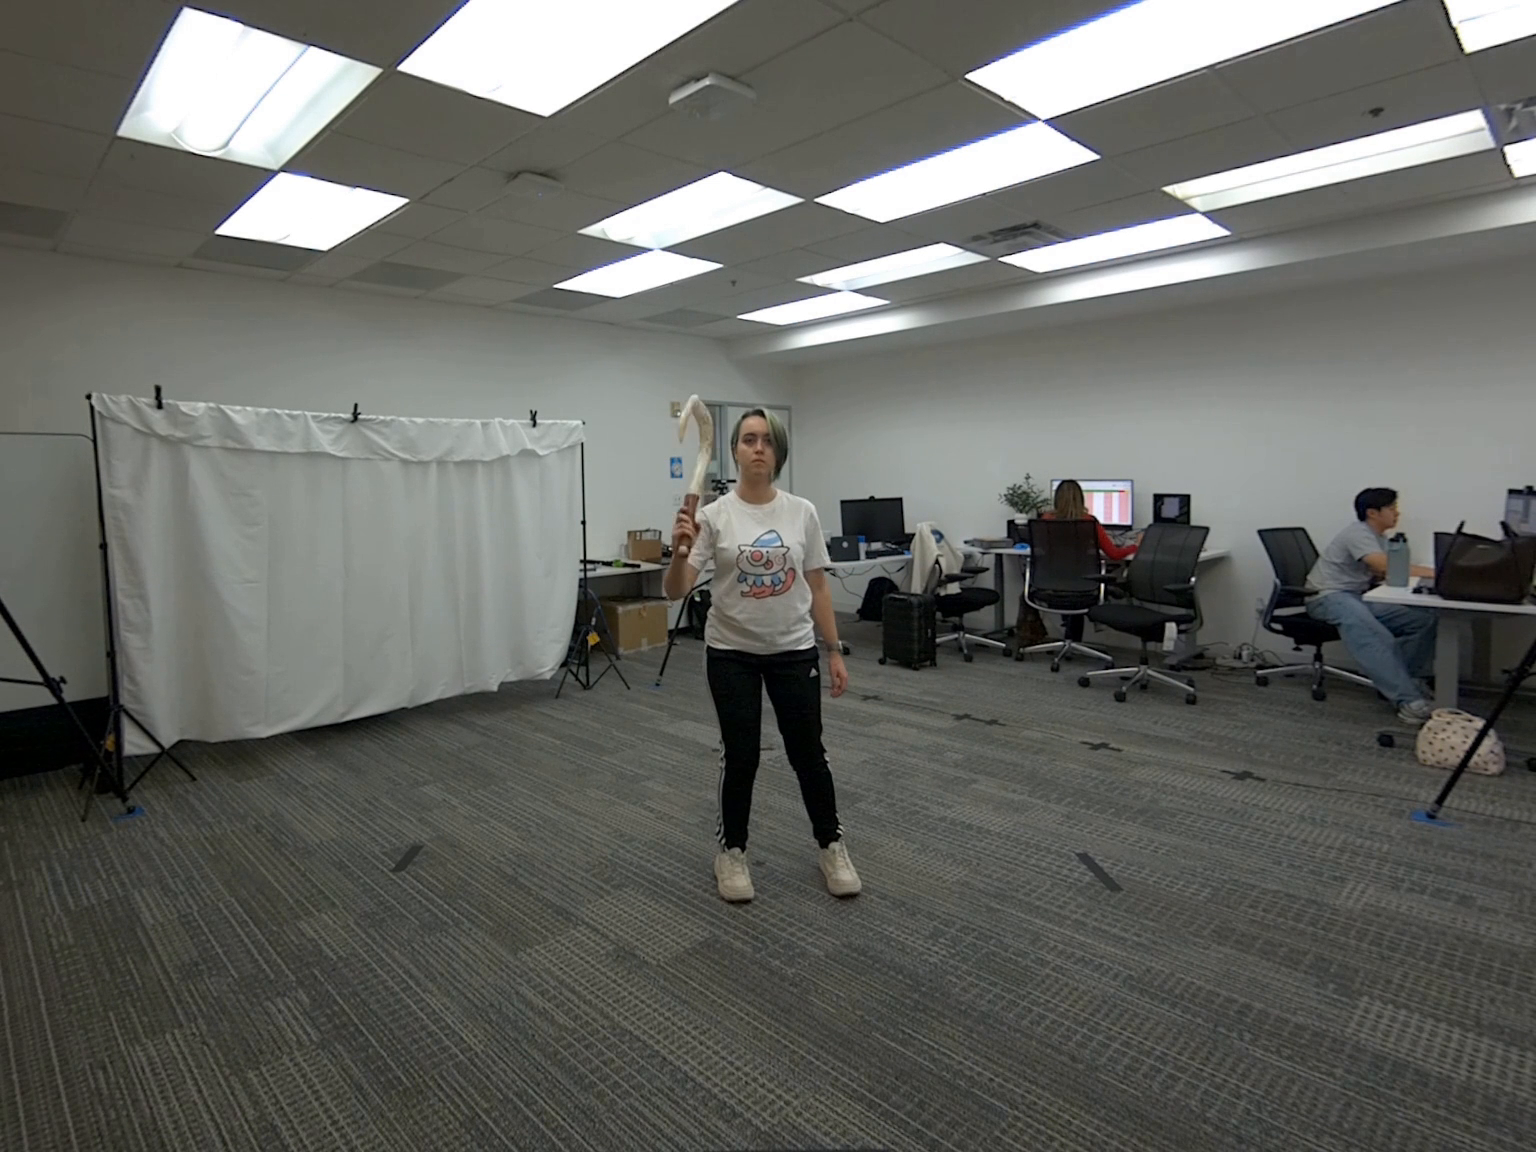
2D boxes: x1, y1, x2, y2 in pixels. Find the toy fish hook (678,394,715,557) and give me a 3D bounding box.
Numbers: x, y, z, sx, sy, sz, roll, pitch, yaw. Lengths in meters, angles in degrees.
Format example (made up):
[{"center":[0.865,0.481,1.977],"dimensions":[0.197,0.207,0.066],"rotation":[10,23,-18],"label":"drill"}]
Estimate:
[{"center":[-0.233,-0.298,2.556],"dimensions":[0.049,0.515,0.216],"rotation":[-4,-25,23],"label":"toy fish hook"}]
